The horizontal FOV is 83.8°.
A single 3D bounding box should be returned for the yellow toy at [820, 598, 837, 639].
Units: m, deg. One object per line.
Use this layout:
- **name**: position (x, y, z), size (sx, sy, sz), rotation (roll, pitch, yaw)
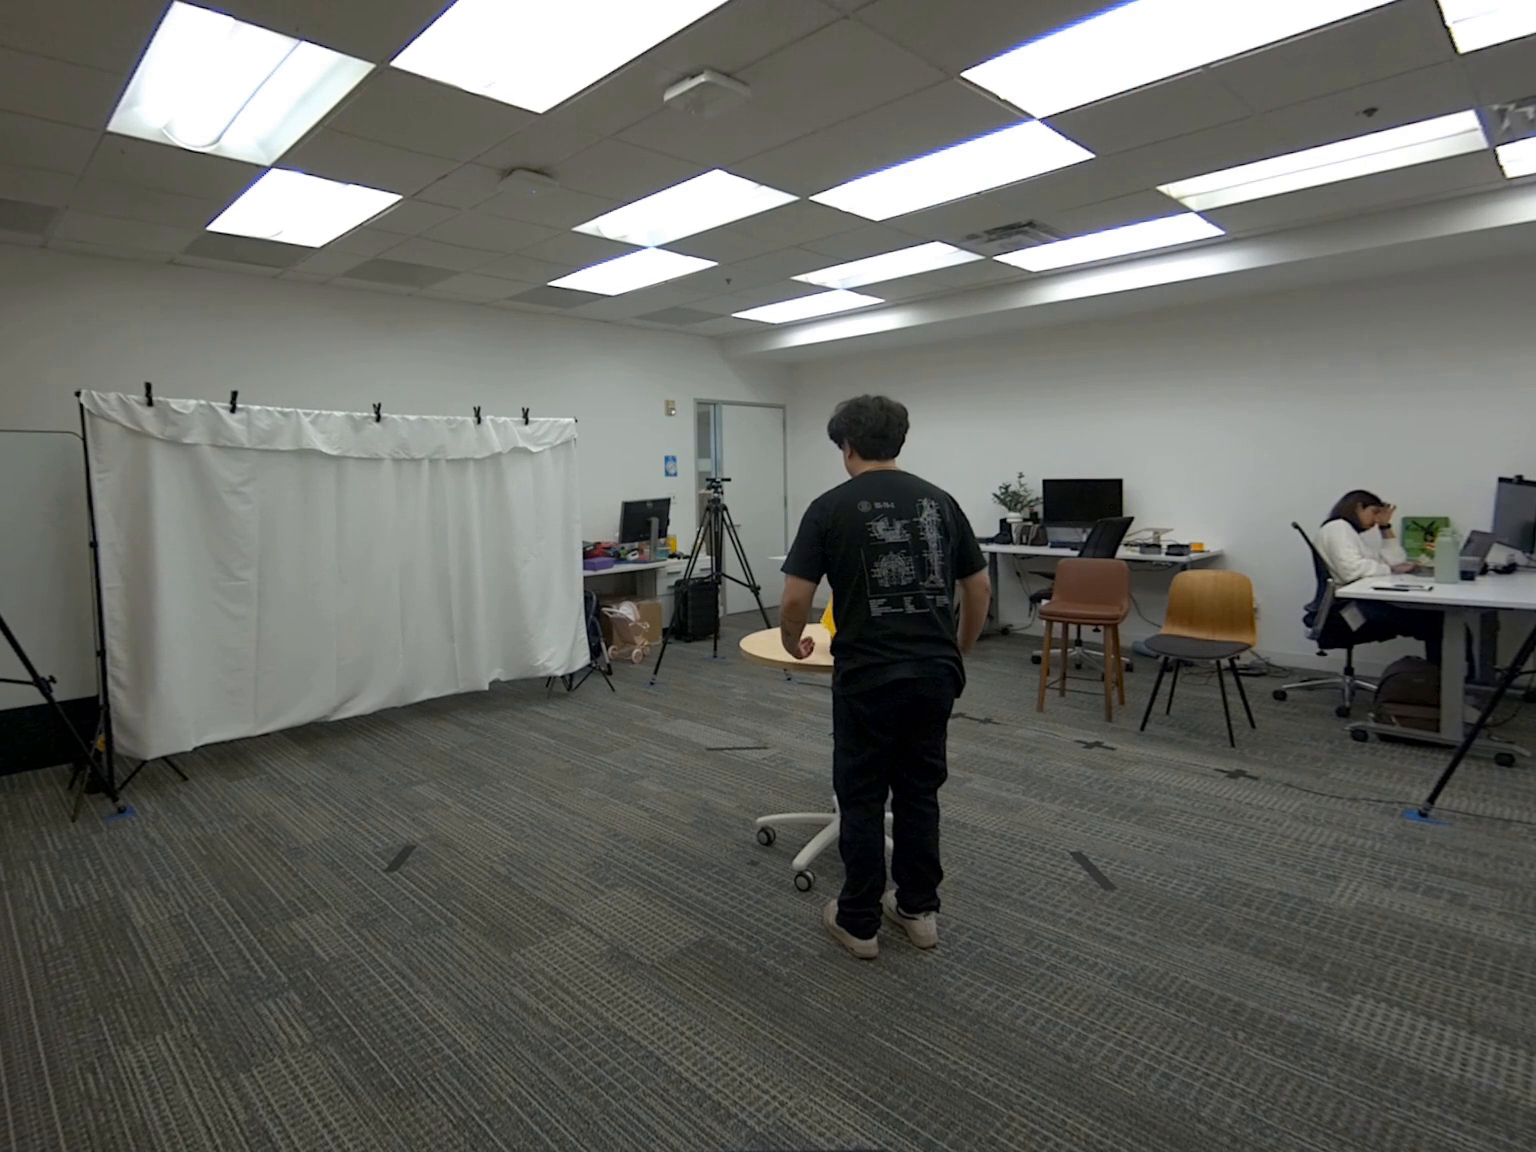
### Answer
- **yellow toy**: position (0.298, 0.139, 3.007), size (0.192, 0.230, 0.206), rotation (-3, 5, -5)
